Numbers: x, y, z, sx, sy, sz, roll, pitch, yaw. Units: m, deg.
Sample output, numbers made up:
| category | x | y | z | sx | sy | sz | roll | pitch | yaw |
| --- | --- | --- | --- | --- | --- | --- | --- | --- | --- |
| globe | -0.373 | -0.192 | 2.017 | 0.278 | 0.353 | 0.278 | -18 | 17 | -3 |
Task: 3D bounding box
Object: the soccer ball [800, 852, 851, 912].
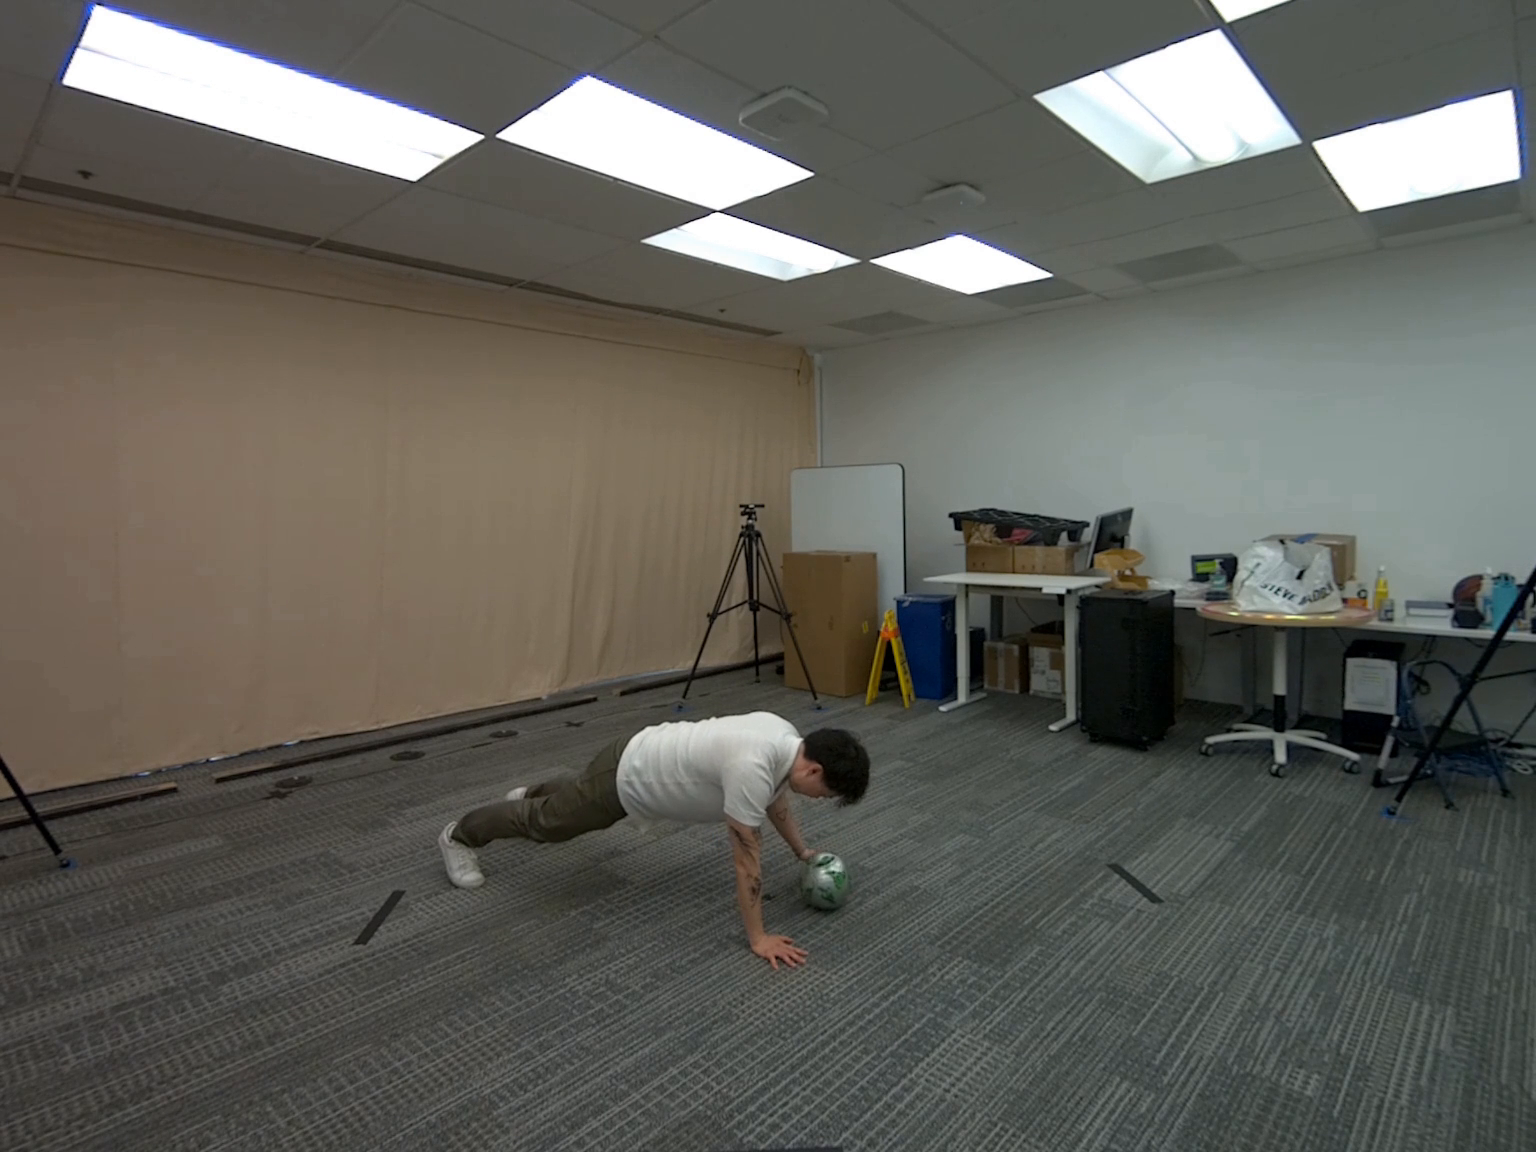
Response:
| category | x | y | z | sx | sy | sz | roll | pitch | yaw |
| --- | --- | --- | --- | --- | --- | --- | --- | --- | --- |
| soccer ball | 0.199 | 1.051 | 2.900 | 0.187 | 0.187 | 0.188 | -1 | 4 | -2 |
